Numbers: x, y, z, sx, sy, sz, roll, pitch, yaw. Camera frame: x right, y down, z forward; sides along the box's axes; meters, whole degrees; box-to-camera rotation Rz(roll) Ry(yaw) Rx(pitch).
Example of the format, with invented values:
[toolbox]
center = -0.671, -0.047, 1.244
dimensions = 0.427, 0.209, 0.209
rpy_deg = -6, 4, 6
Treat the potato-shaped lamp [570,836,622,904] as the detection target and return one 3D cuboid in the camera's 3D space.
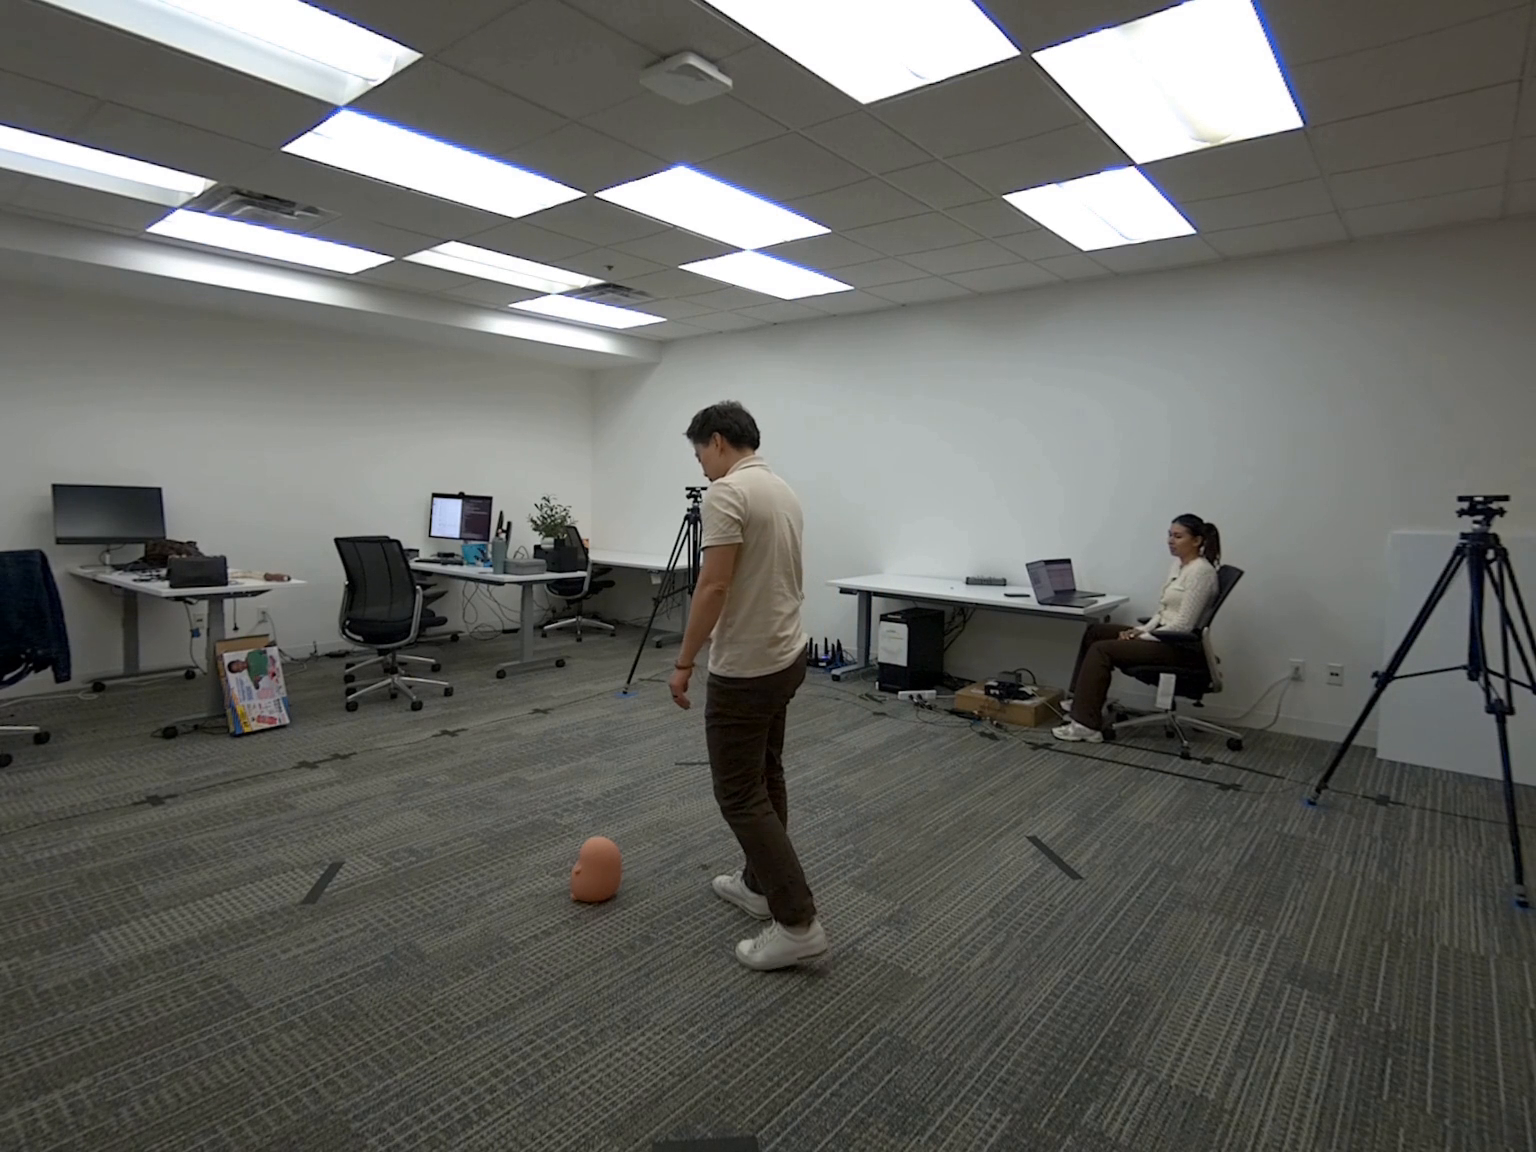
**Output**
[potato-shaped lamp]
center = -0.589, 0.984, 2.877
dimensions = 0.172, 0.197, 0.165
rpy_deg = 3, 6, 4
